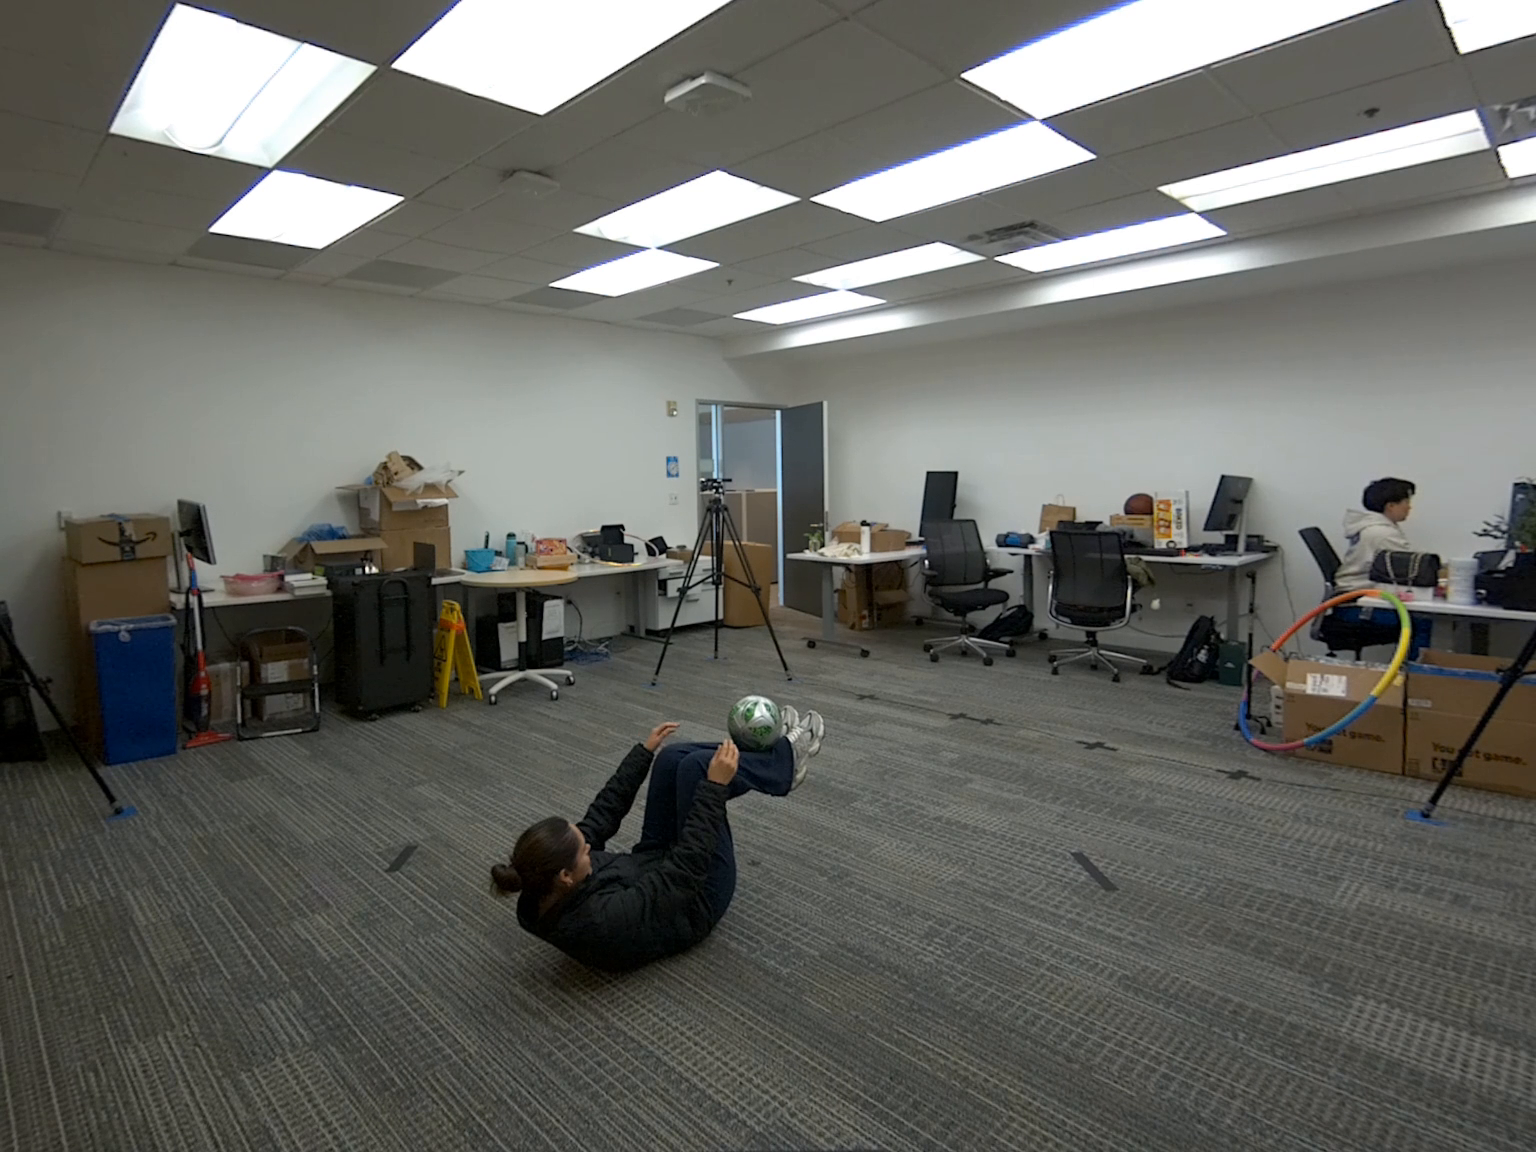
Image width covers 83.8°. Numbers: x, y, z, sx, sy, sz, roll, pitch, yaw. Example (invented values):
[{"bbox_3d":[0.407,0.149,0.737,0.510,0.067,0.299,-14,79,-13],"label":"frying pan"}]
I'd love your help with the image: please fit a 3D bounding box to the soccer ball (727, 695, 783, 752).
[{"bbox_3d":[-0.042,0.495,2.858,0.187,0.187,0.188,0,1,-2],"label":"soccer ball"}]
